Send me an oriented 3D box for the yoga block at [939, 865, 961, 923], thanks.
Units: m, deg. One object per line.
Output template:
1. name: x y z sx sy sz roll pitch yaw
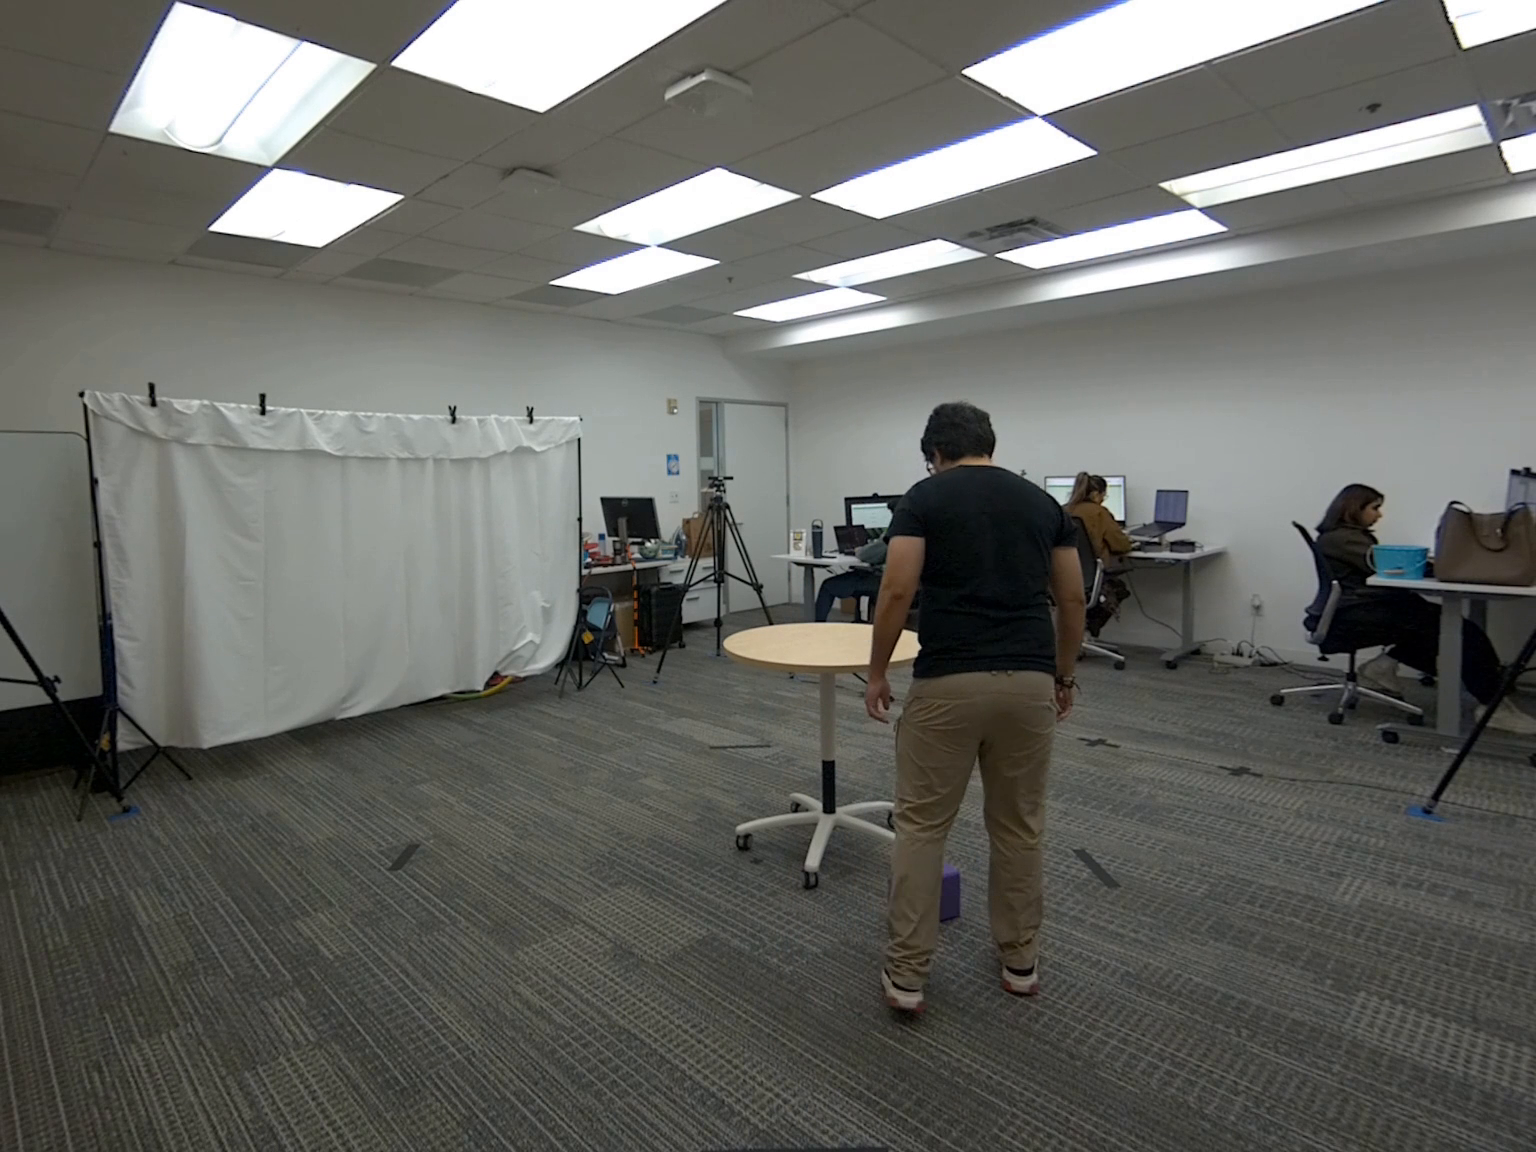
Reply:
1. yoga block: 0.500 1.004 2.672 0.225 0.149 0.078 -3 2 -21
